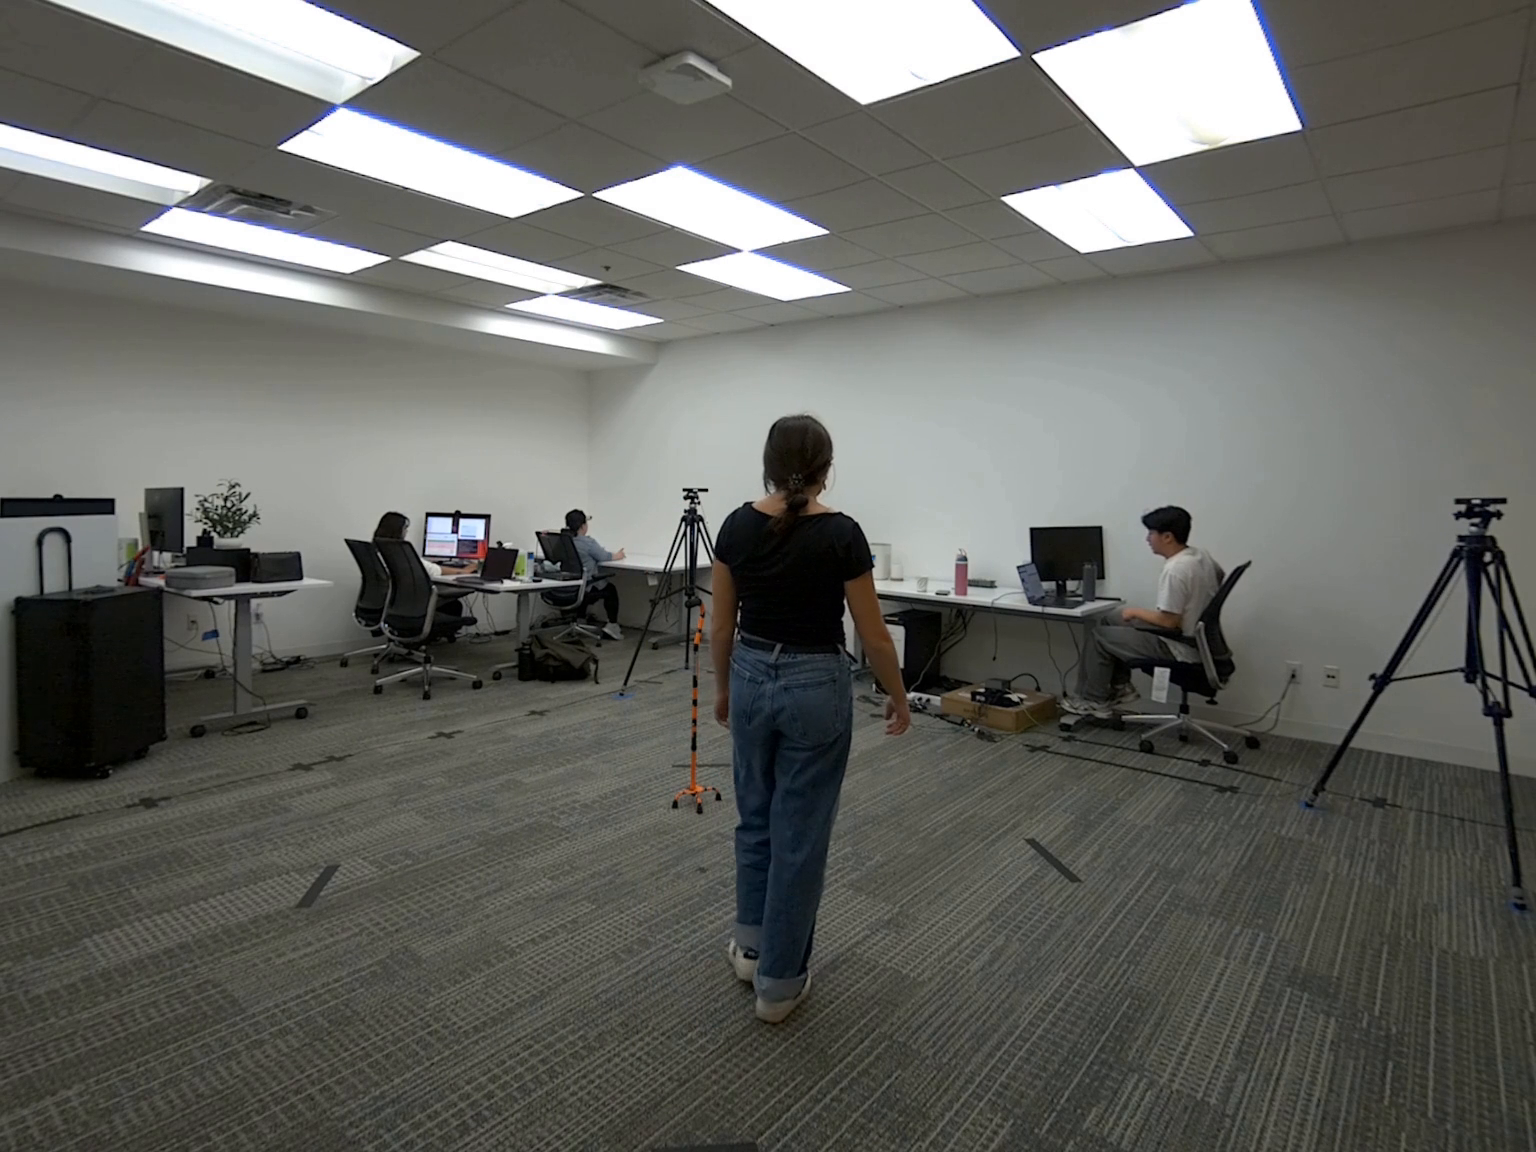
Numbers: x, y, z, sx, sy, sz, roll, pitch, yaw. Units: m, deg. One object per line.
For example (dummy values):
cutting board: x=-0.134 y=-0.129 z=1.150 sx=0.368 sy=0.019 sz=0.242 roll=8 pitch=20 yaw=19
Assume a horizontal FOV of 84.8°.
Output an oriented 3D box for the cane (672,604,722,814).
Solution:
cane: x=-0.310 y=0.549 z=3.747 sx=0.155 sy=0.906 sz=0.202 roll=2 pitch=3 yaw=24
